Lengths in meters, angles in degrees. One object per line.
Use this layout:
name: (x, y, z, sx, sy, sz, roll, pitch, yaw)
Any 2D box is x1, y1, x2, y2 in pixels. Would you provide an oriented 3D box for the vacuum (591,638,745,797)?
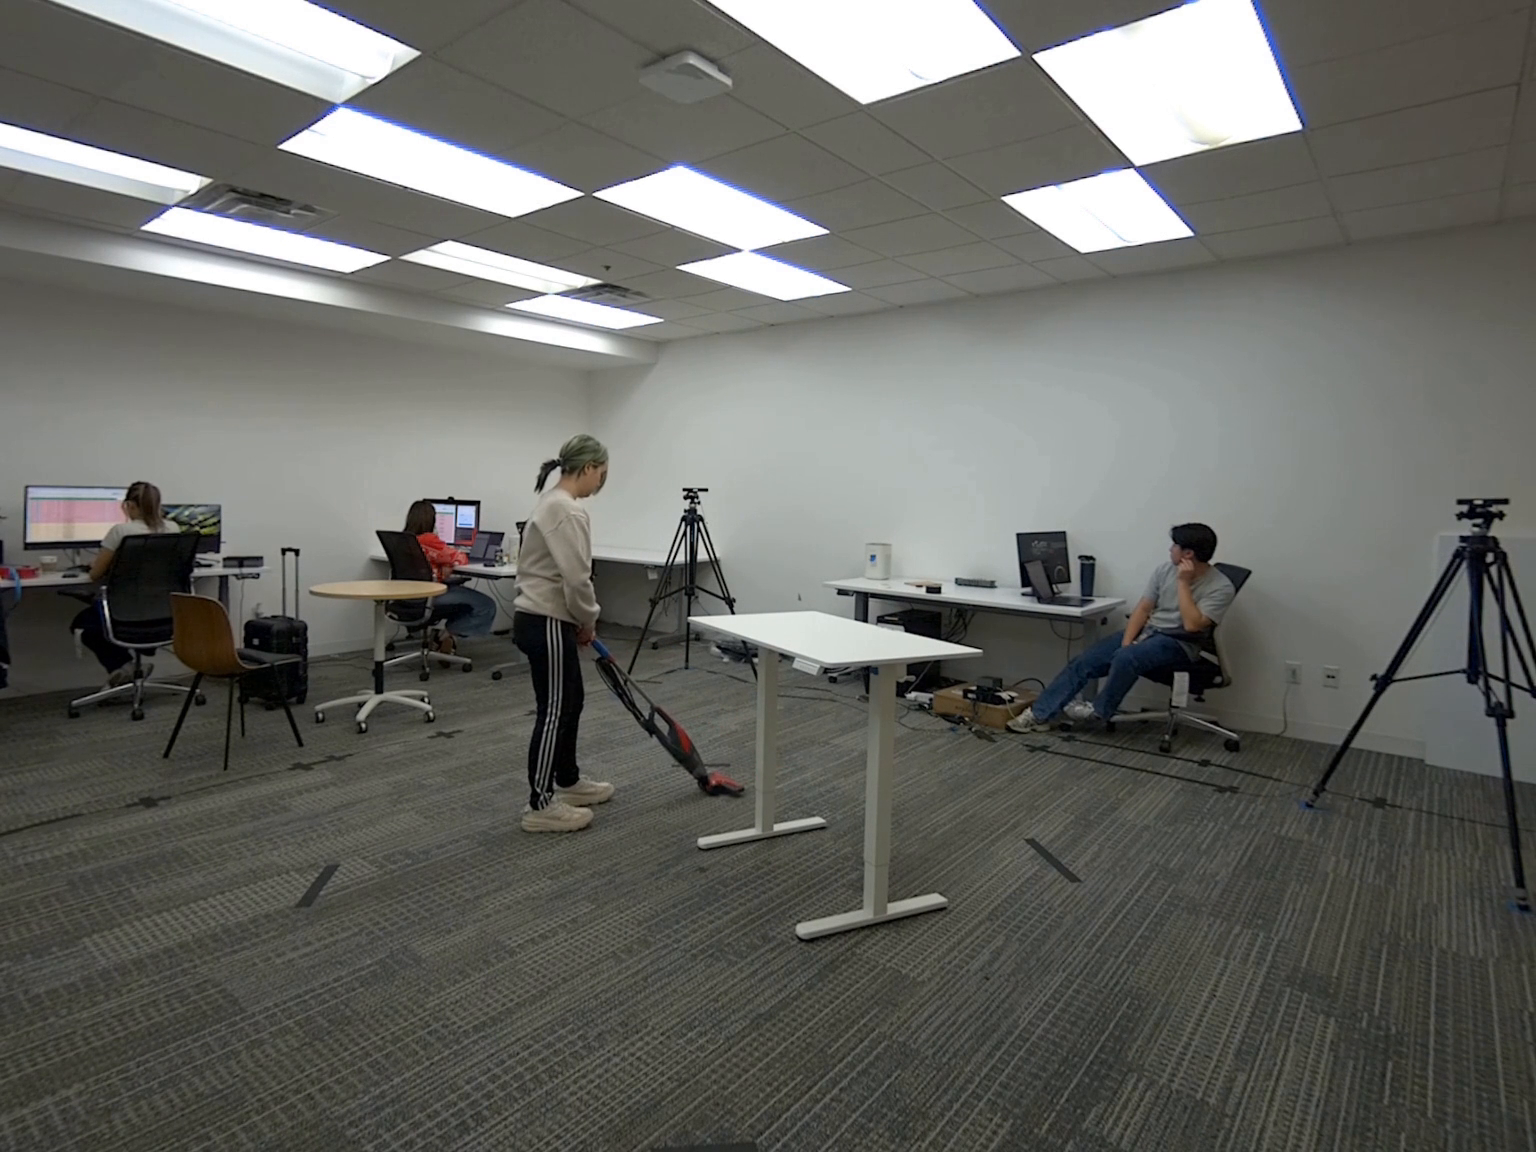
vacuum: (-0.530, 0.616, 3.758, 0.259, 1.019, 0.144, -4, 42, 55)
